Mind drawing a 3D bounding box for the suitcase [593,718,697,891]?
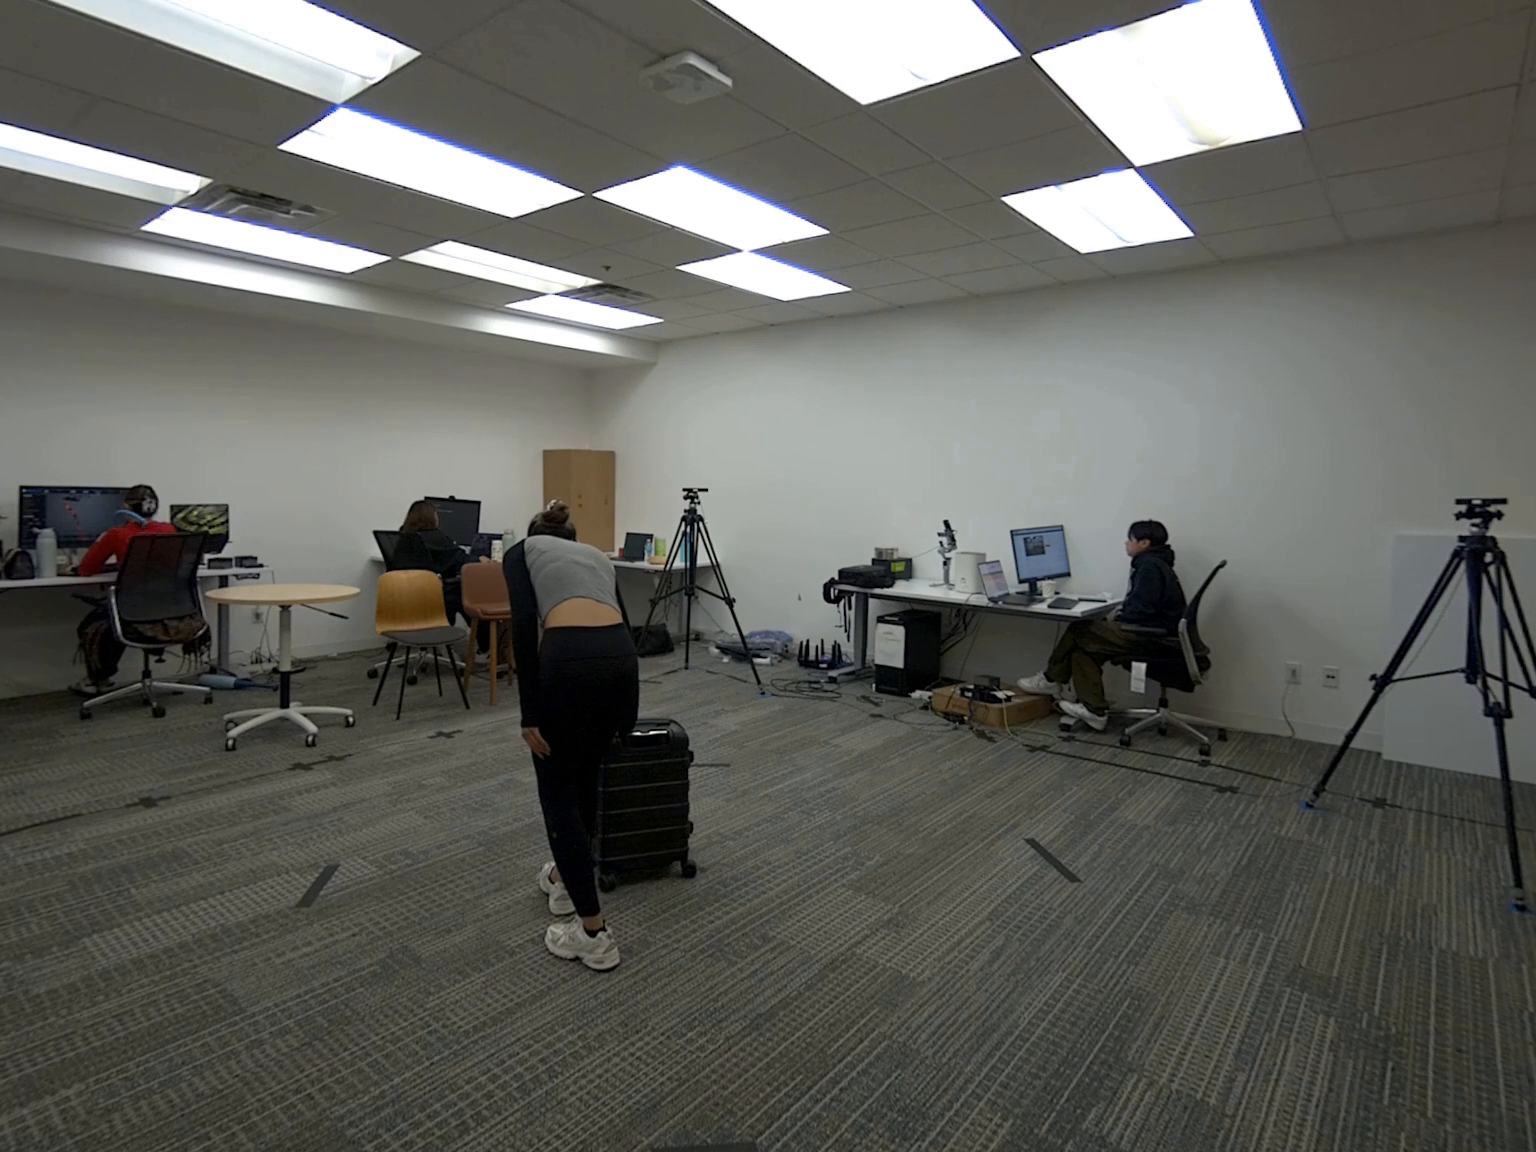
[{"bbox_3d":[-0.484,0.791,3.093,0.367,0.548,0.254,-1,2,-22],"label":"suitcase"}]
